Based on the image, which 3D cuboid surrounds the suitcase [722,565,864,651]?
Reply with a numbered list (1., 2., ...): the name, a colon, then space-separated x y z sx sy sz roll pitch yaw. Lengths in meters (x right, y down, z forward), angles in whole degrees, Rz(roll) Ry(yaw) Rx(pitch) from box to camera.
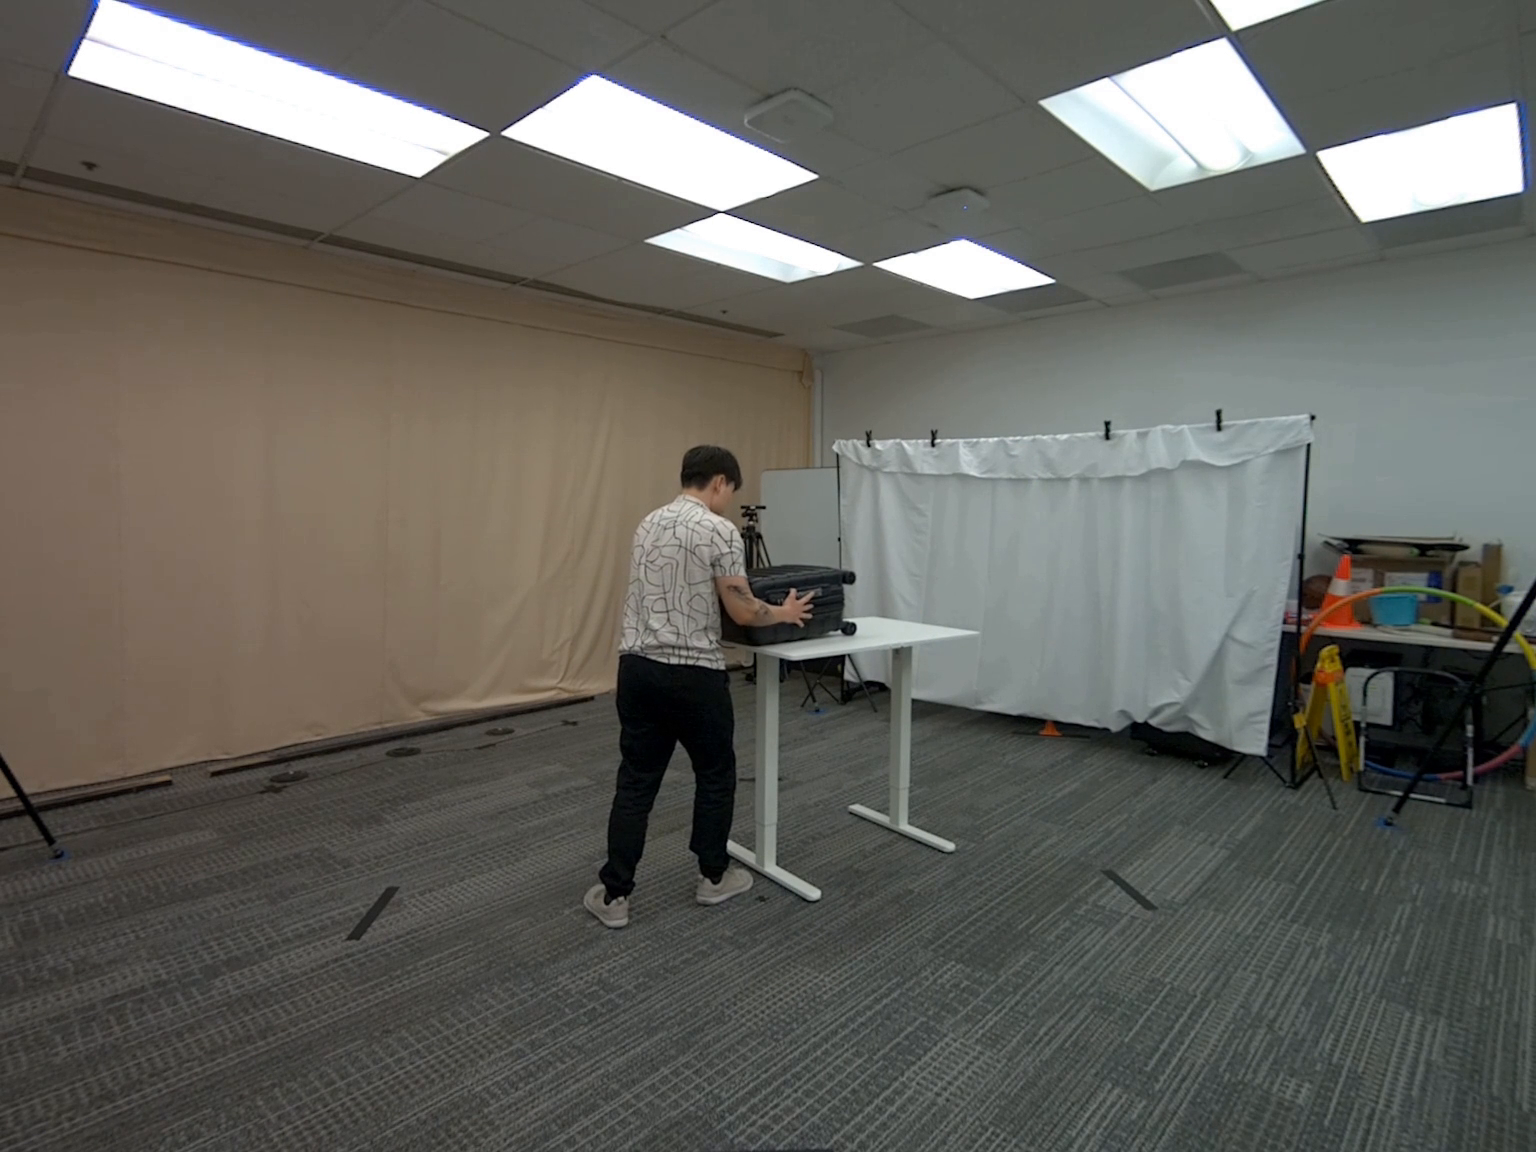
1. suitcase: 0.032 0.105 3.242 0.533 0.248 0.387 -5 5 -39
